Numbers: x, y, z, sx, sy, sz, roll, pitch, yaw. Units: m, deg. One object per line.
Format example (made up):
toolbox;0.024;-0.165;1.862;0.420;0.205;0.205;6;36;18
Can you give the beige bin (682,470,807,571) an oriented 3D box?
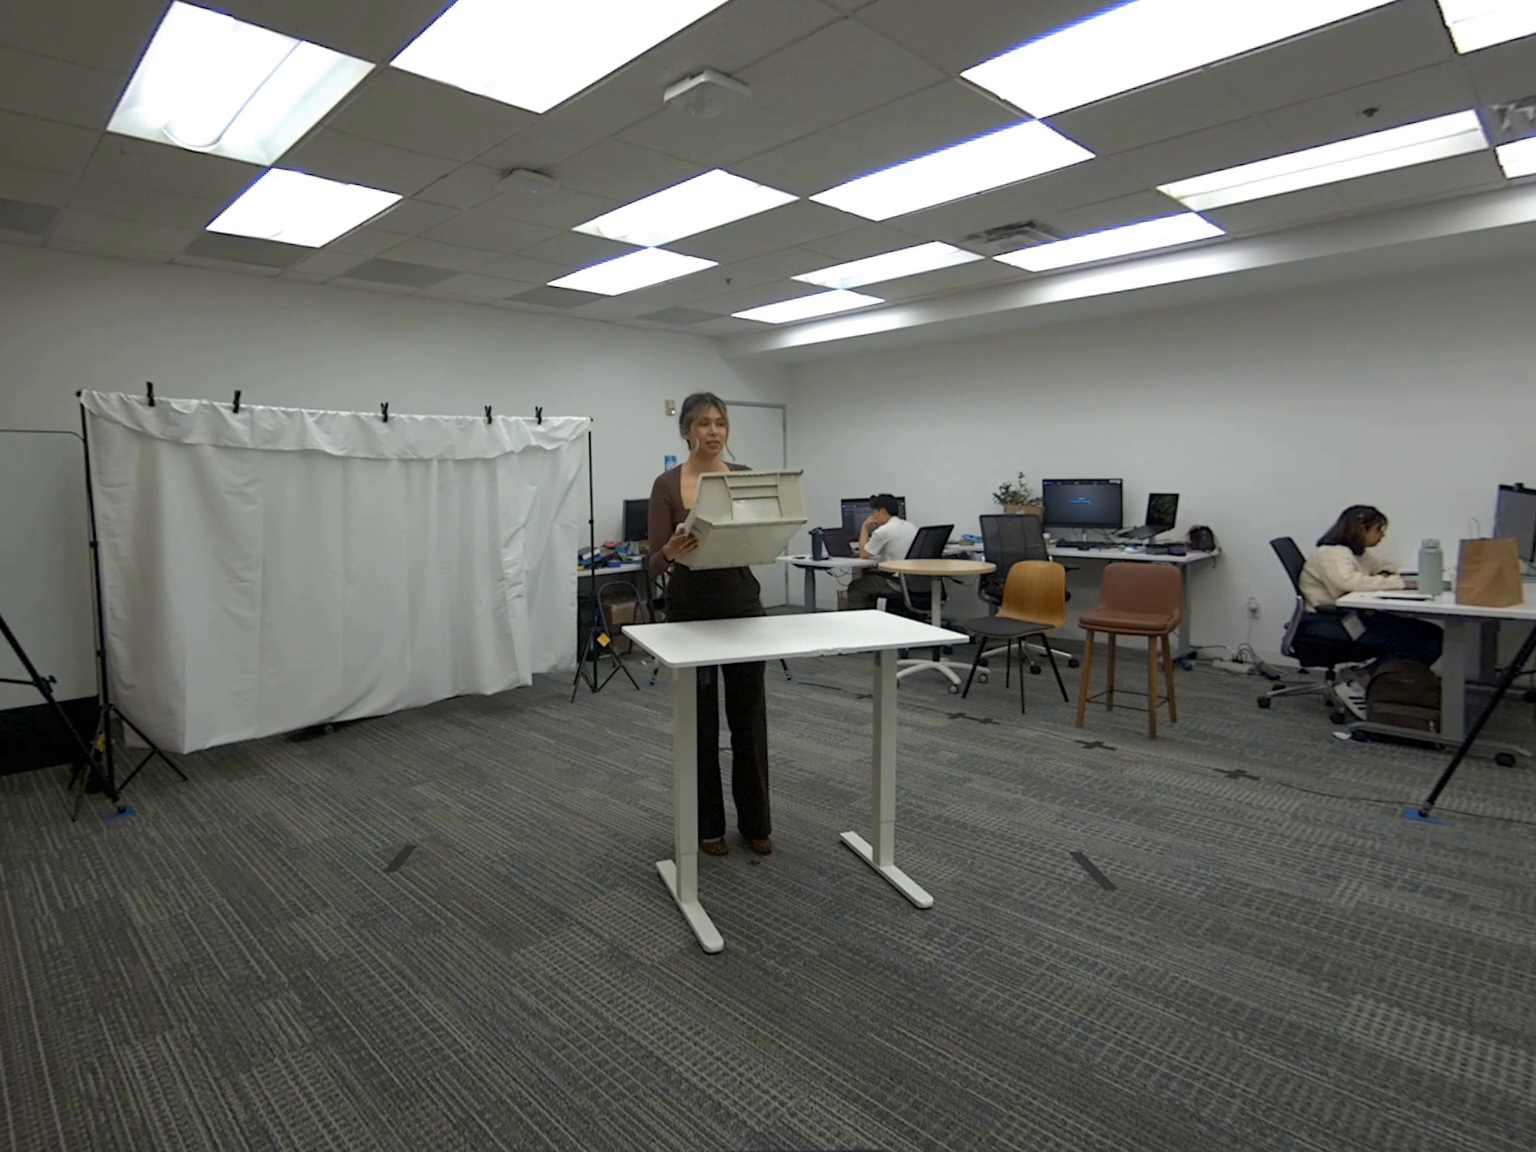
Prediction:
beige bin;-0.110;-0.180;2.881;0.372;0.193;0.420;-3;-19;-15
